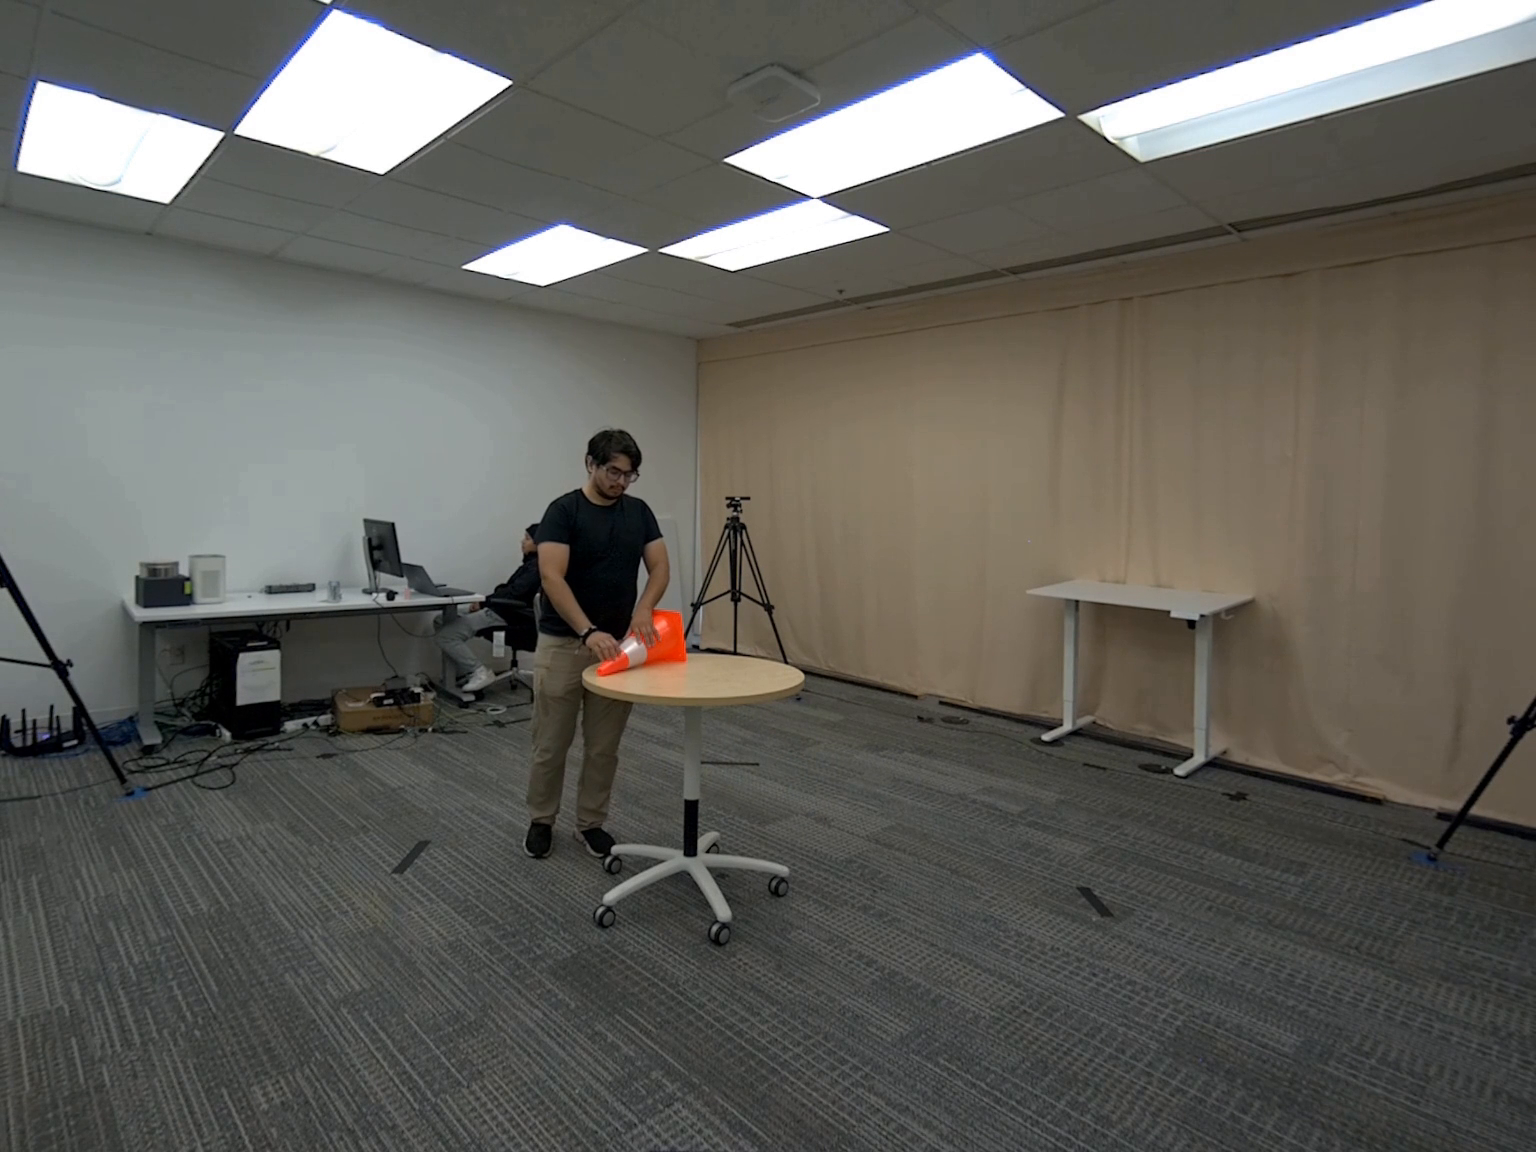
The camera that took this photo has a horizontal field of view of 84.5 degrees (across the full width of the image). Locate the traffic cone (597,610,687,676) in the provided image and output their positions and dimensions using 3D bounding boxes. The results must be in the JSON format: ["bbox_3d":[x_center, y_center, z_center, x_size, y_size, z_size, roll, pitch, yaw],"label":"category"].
[{"bbox_3d":[-0.488,0.281,2.980,0.209,0.201,0.380,7,20,27],"label":"traffic cone"}]
